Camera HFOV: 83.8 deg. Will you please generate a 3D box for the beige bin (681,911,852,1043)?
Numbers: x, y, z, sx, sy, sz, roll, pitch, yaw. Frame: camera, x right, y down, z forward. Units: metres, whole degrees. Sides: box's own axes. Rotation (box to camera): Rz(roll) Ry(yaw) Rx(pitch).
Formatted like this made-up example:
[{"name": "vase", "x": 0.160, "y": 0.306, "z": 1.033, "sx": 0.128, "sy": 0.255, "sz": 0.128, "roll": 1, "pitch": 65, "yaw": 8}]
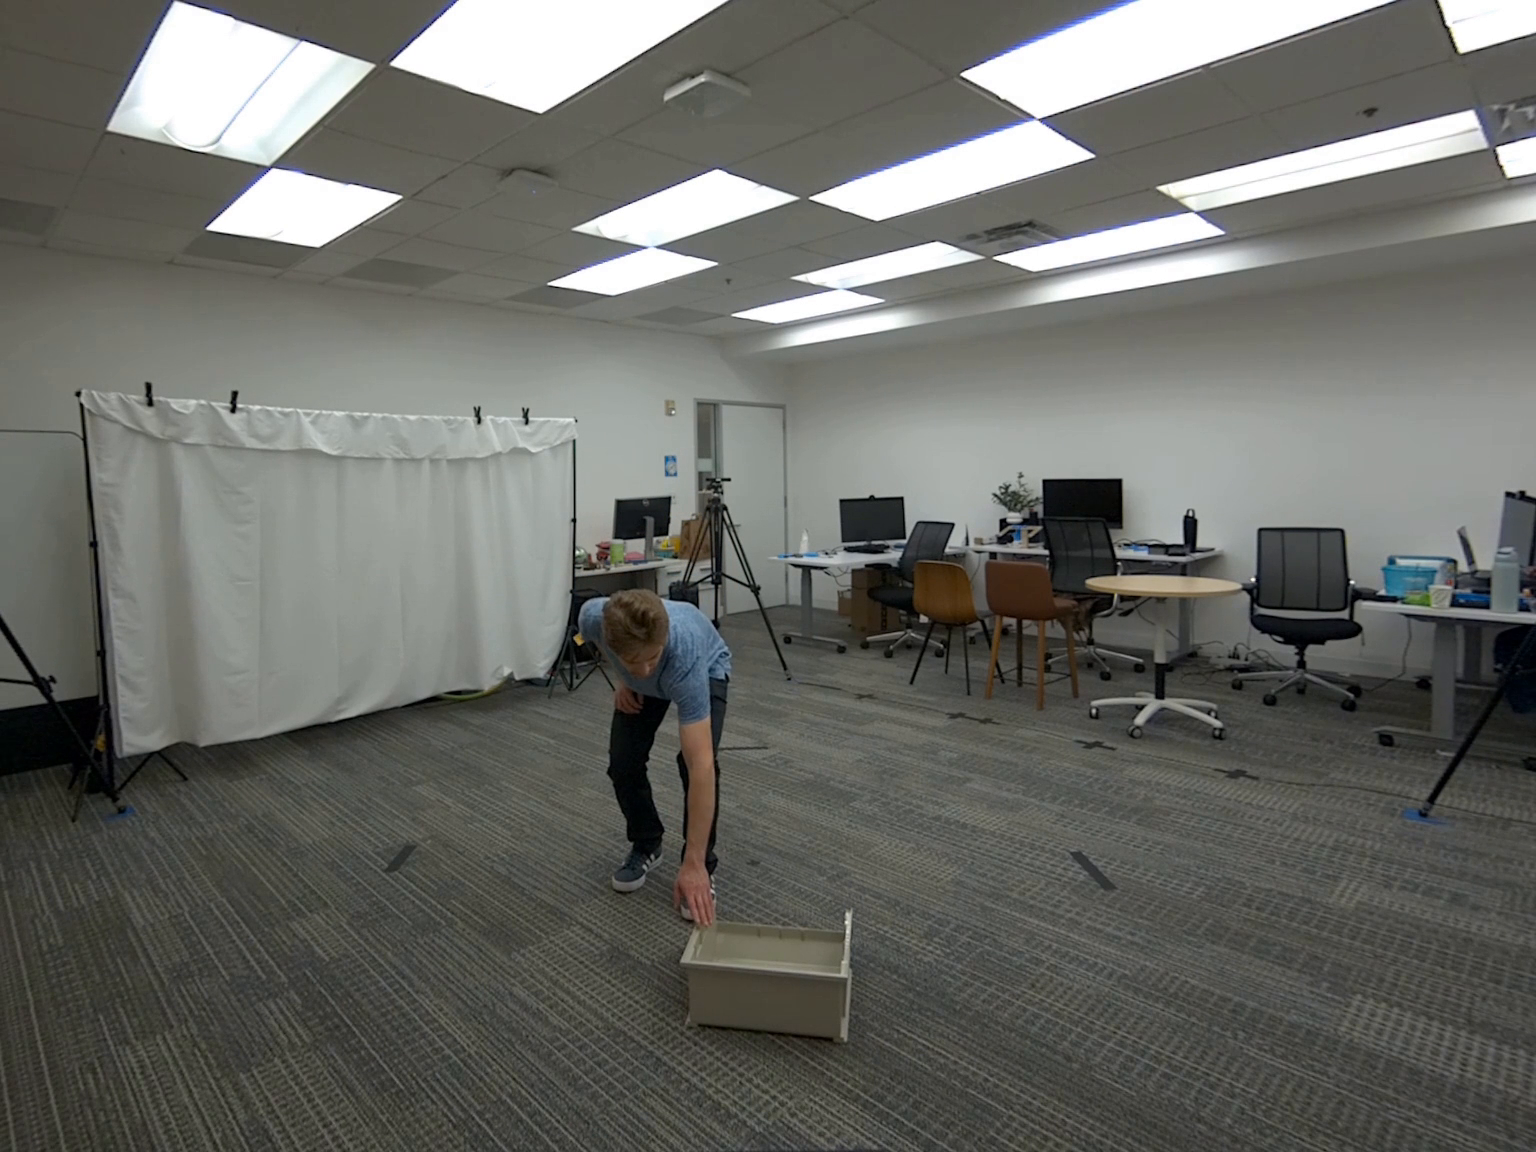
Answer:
[{"name": "beige bin", "x": 0.015, "y": 1.047, "z": 2.312, "sx": 0.426, "sy": 0.188, "sz": 0.376, "roll": 0, "pitch": 7, "yaw": 9}]
